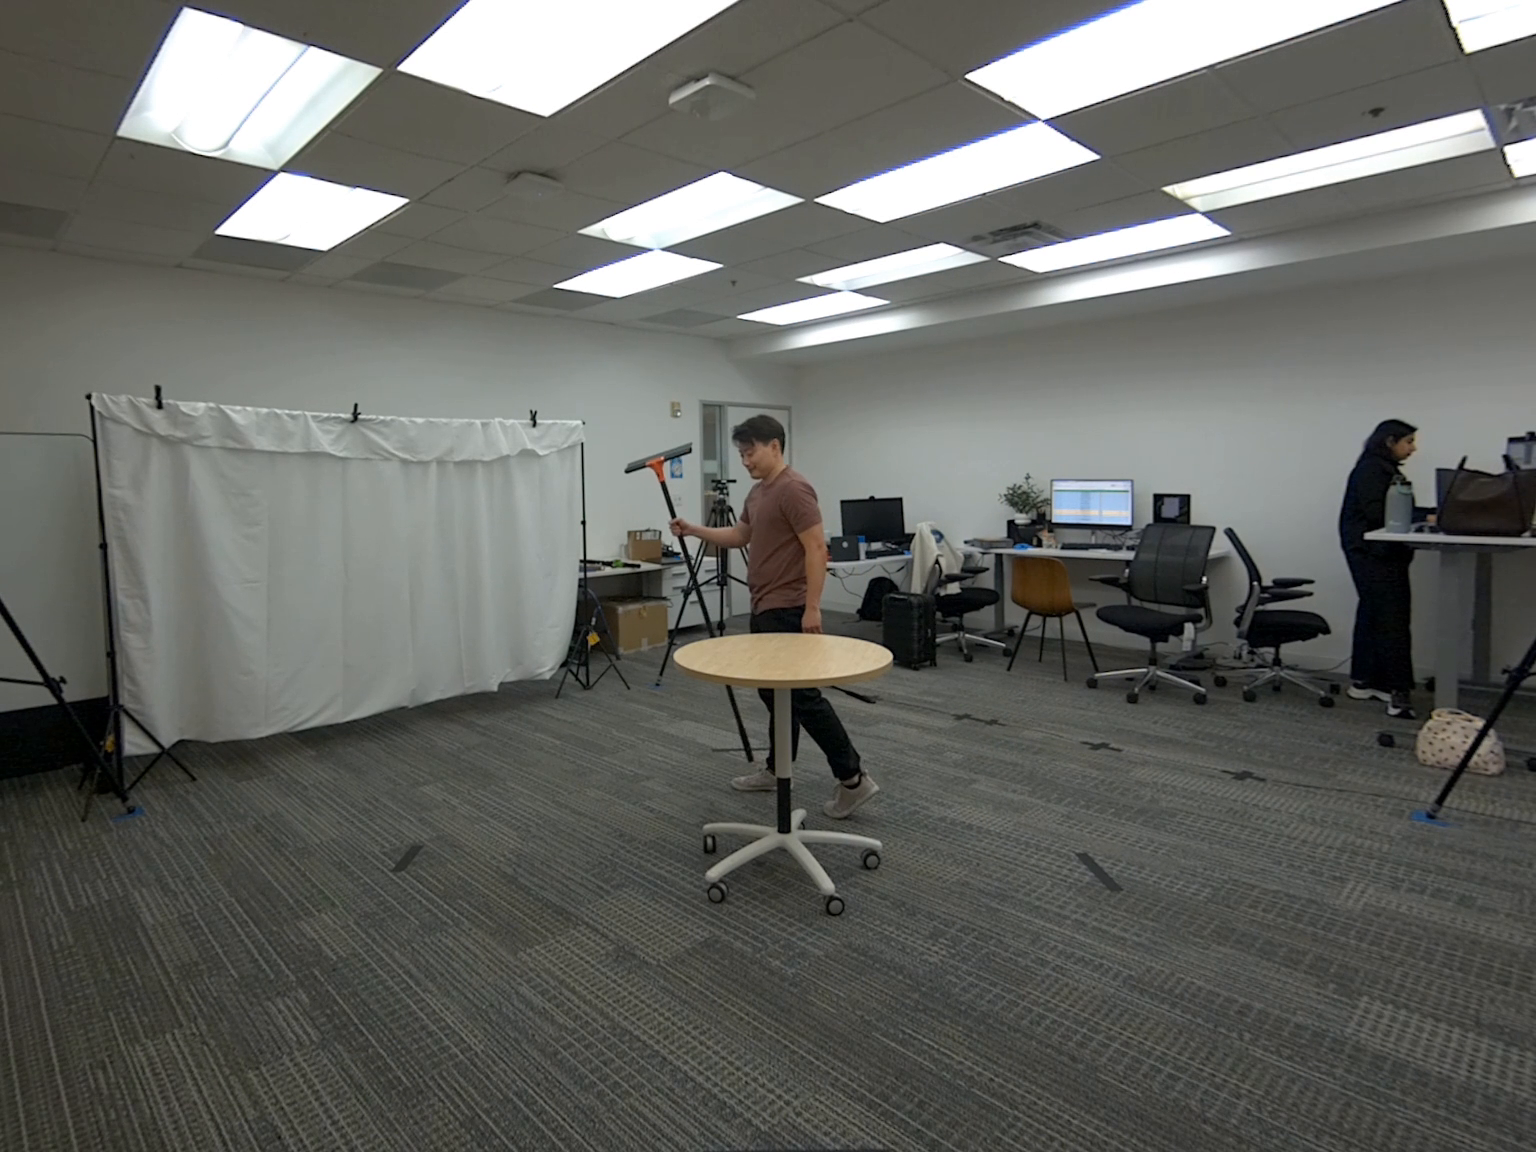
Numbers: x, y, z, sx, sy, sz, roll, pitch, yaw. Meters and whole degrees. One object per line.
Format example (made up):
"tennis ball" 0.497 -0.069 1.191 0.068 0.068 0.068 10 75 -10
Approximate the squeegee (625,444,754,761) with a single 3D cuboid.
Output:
"squeegee" -0.297 0.171 3.985 0.447 1.529 0.052 -12 6 41
